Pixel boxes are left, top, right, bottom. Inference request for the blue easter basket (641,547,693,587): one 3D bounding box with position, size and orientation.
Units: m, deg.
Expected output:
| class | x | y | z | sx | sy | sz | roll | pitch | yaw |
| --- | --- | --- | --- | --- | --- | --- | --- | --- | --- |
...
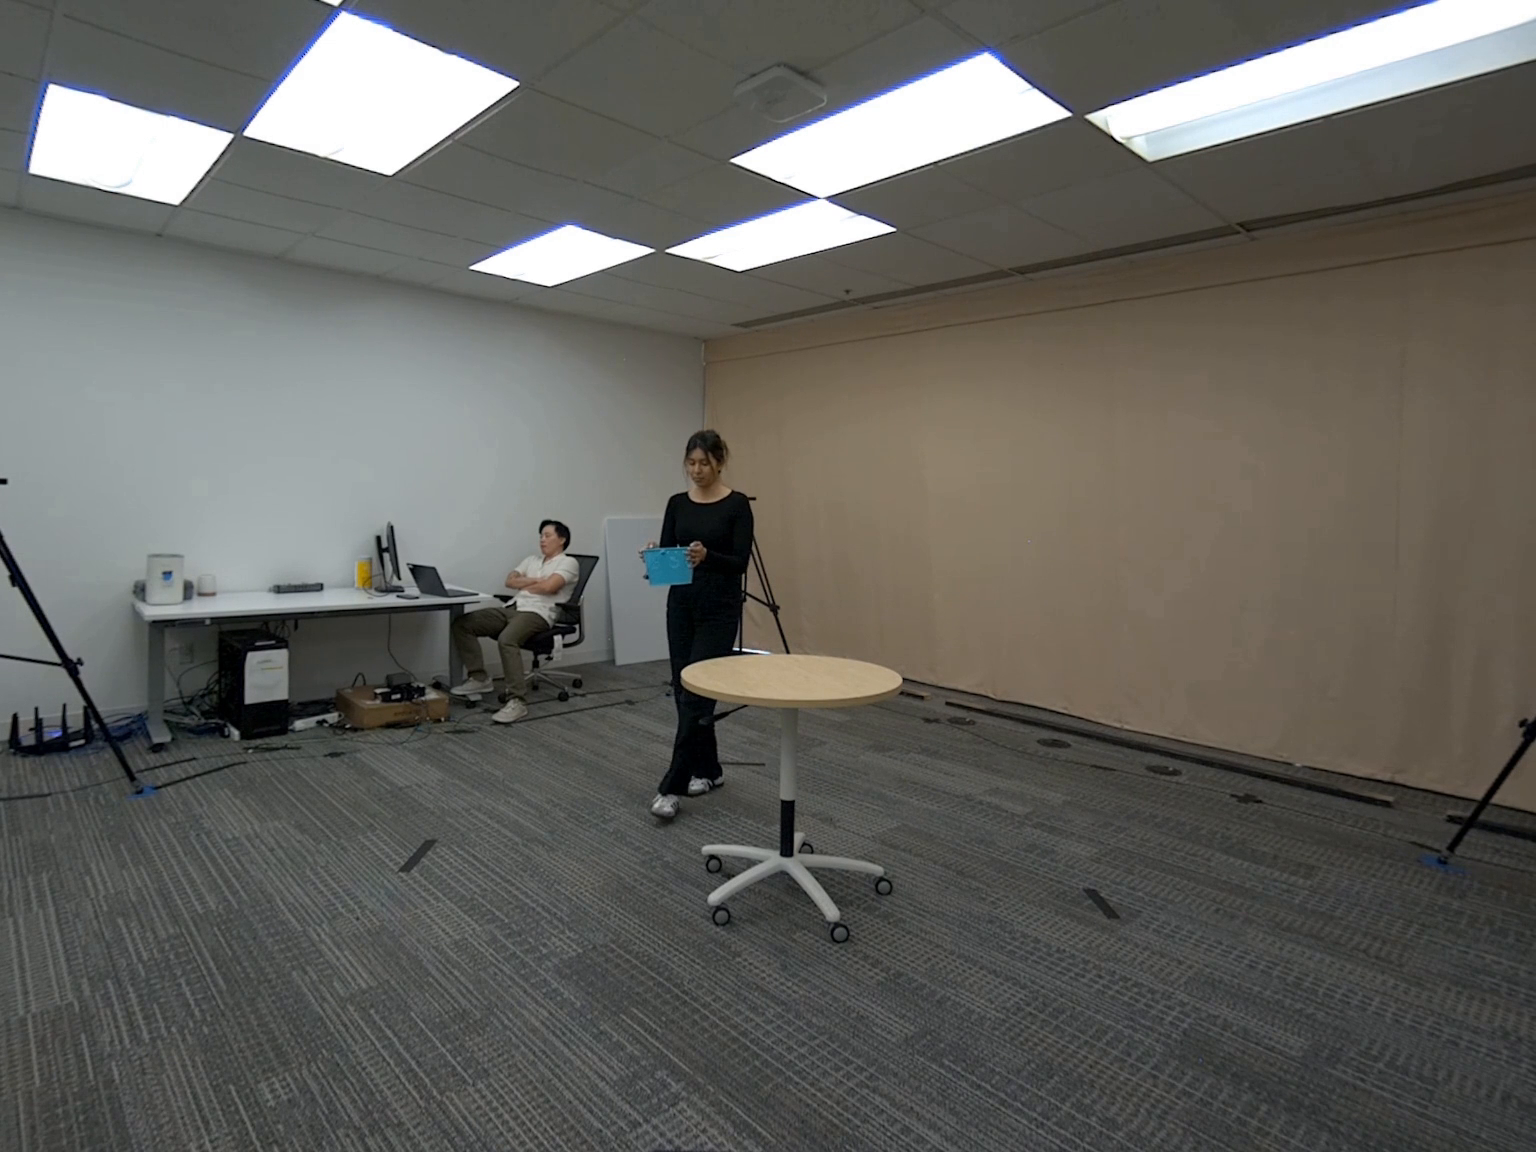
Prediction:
| class | x | y | z | sx | sy | sz | roll | pitch | yaw |
| --- | --- | --- | --- | --- | --- | --- | --- | --- | --- |
| blue easter basket | -0.428 | -0.039 | 3.592 | 0.243 | 0.156 | 0.243 | -4 | 0 | -1 |
